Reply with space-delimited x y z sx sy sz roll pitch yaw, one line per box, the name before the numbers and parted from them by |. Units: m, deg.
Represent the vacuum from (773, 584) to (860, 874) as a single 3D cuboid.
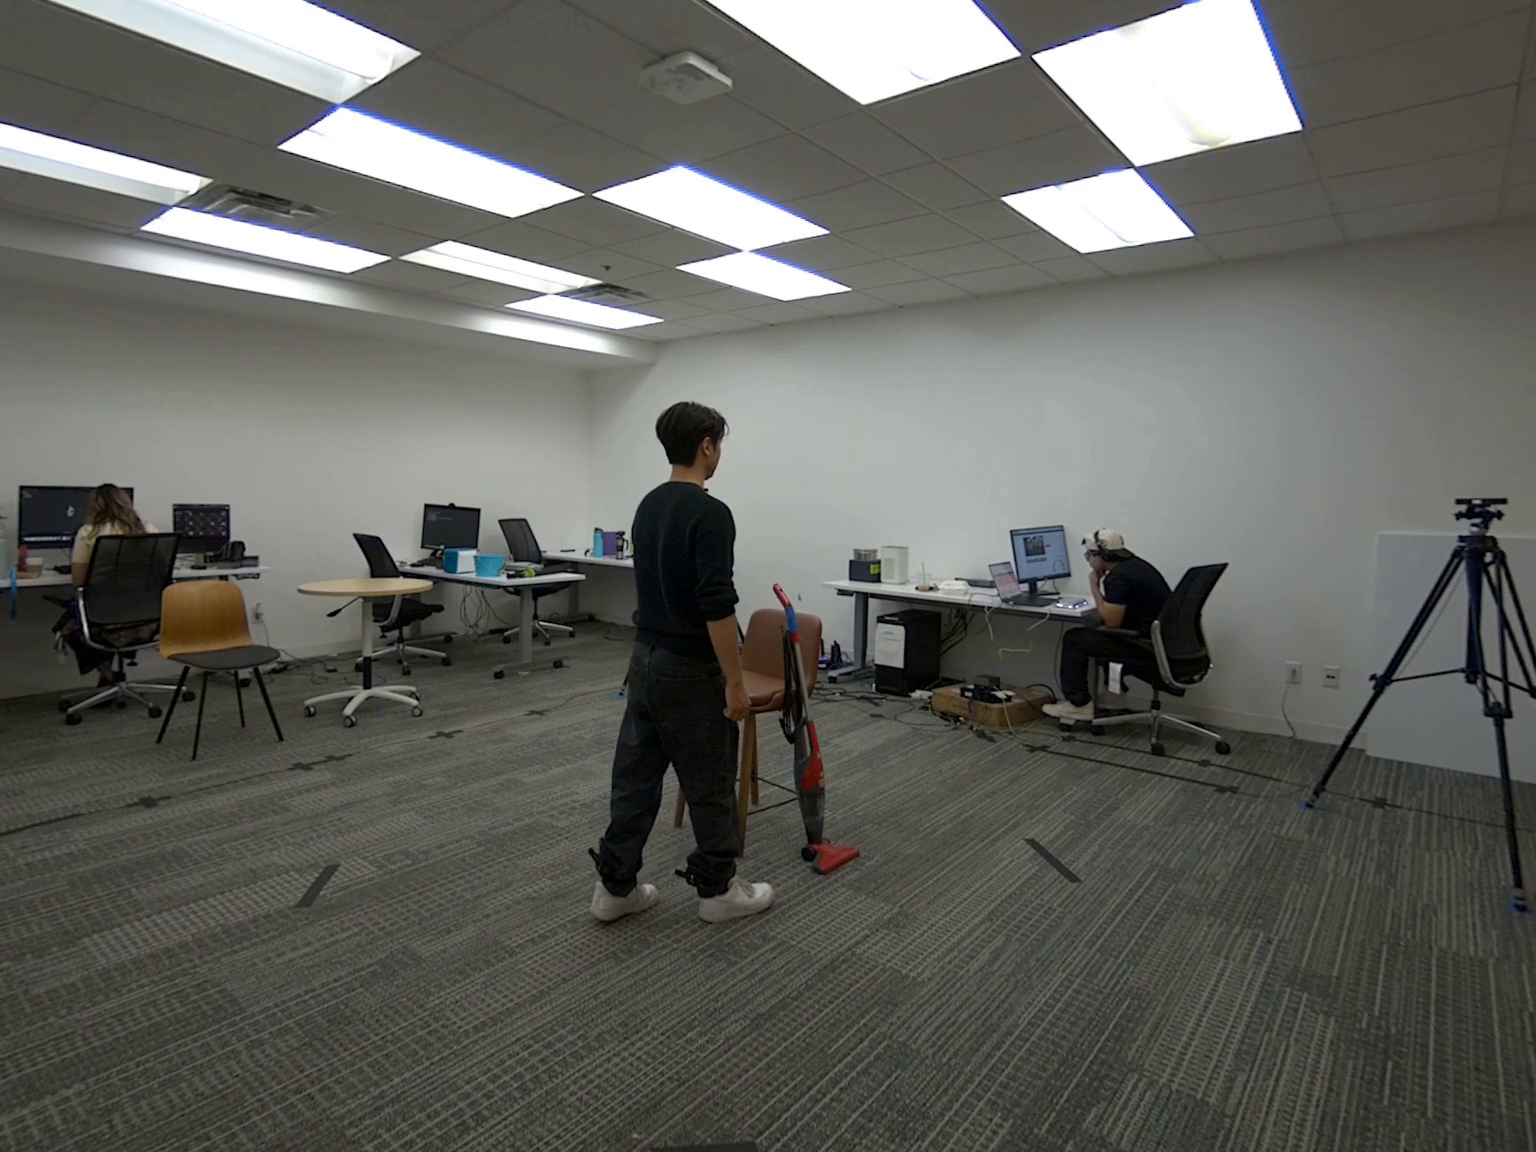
vacuum | 0.127 0.551 3.293 0.147 1.058 0.245 -16 -9 41
